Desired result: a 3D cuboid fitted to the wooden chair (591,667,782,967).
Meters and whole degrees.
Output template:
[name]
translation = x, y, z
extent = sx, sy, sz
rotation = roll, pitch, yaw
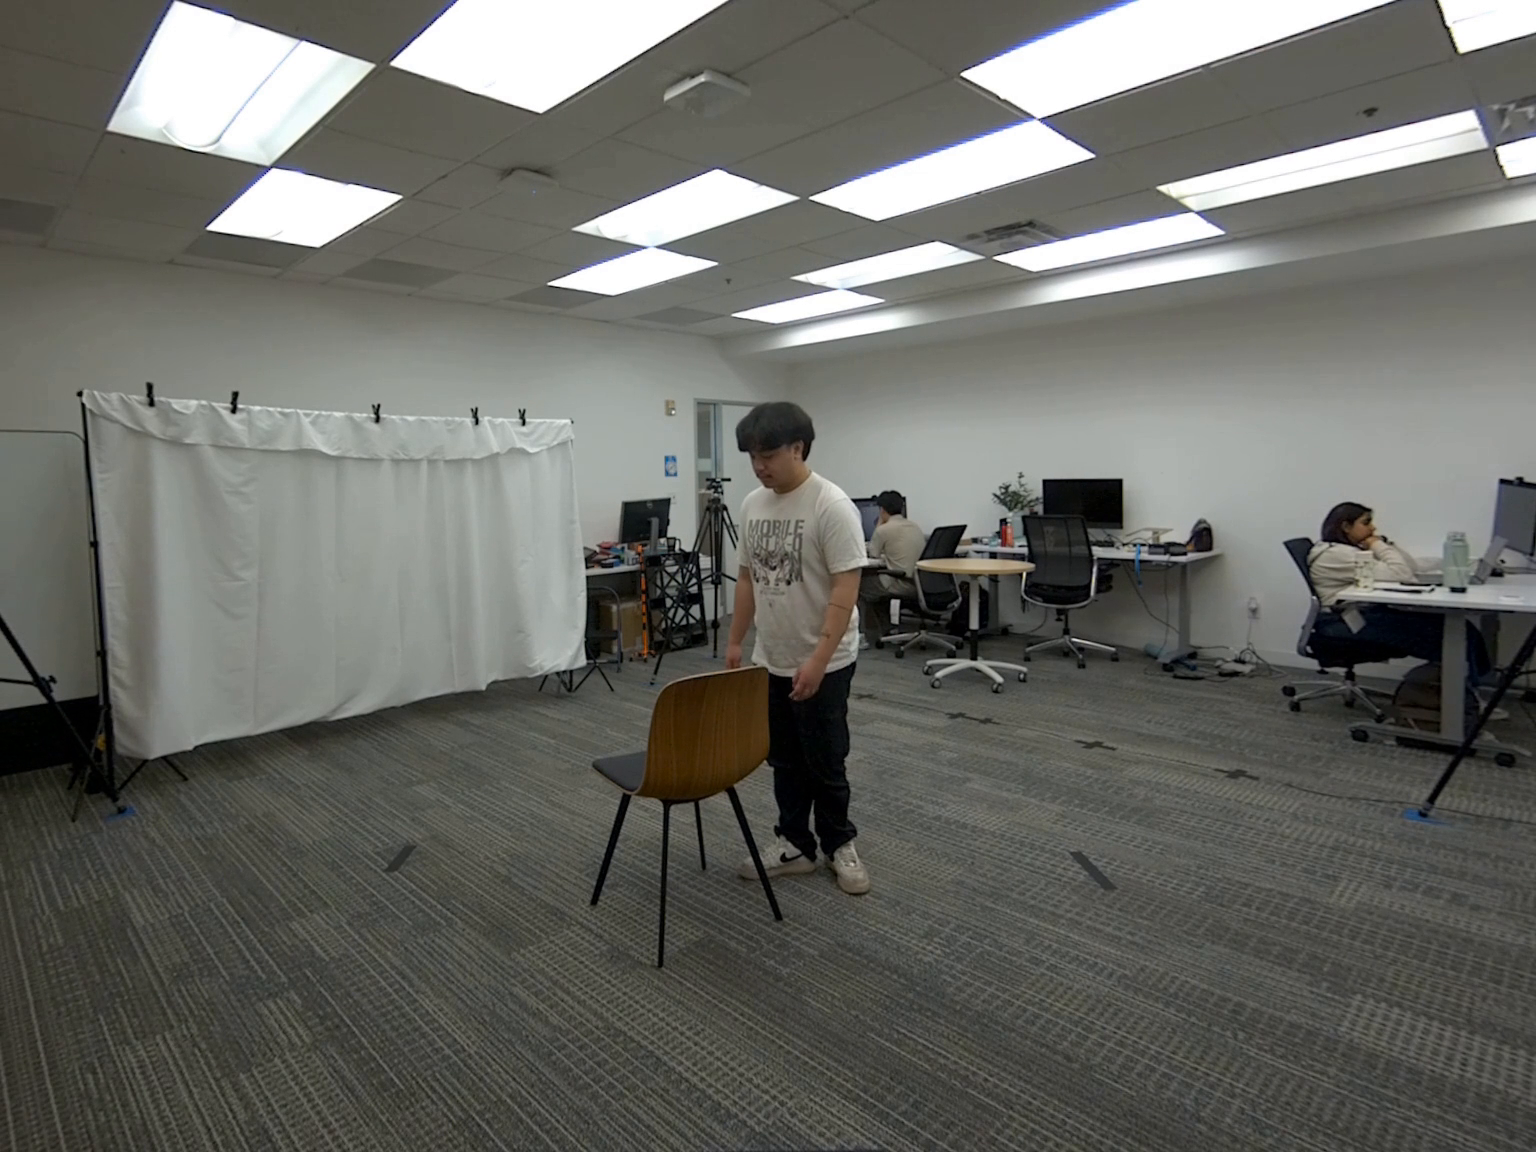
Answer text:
[wooden chair]
translation = -0.283, 0.664, 2.732
extent = 0.466, 0.871, 0.540
rotation = -5, 10, -36
